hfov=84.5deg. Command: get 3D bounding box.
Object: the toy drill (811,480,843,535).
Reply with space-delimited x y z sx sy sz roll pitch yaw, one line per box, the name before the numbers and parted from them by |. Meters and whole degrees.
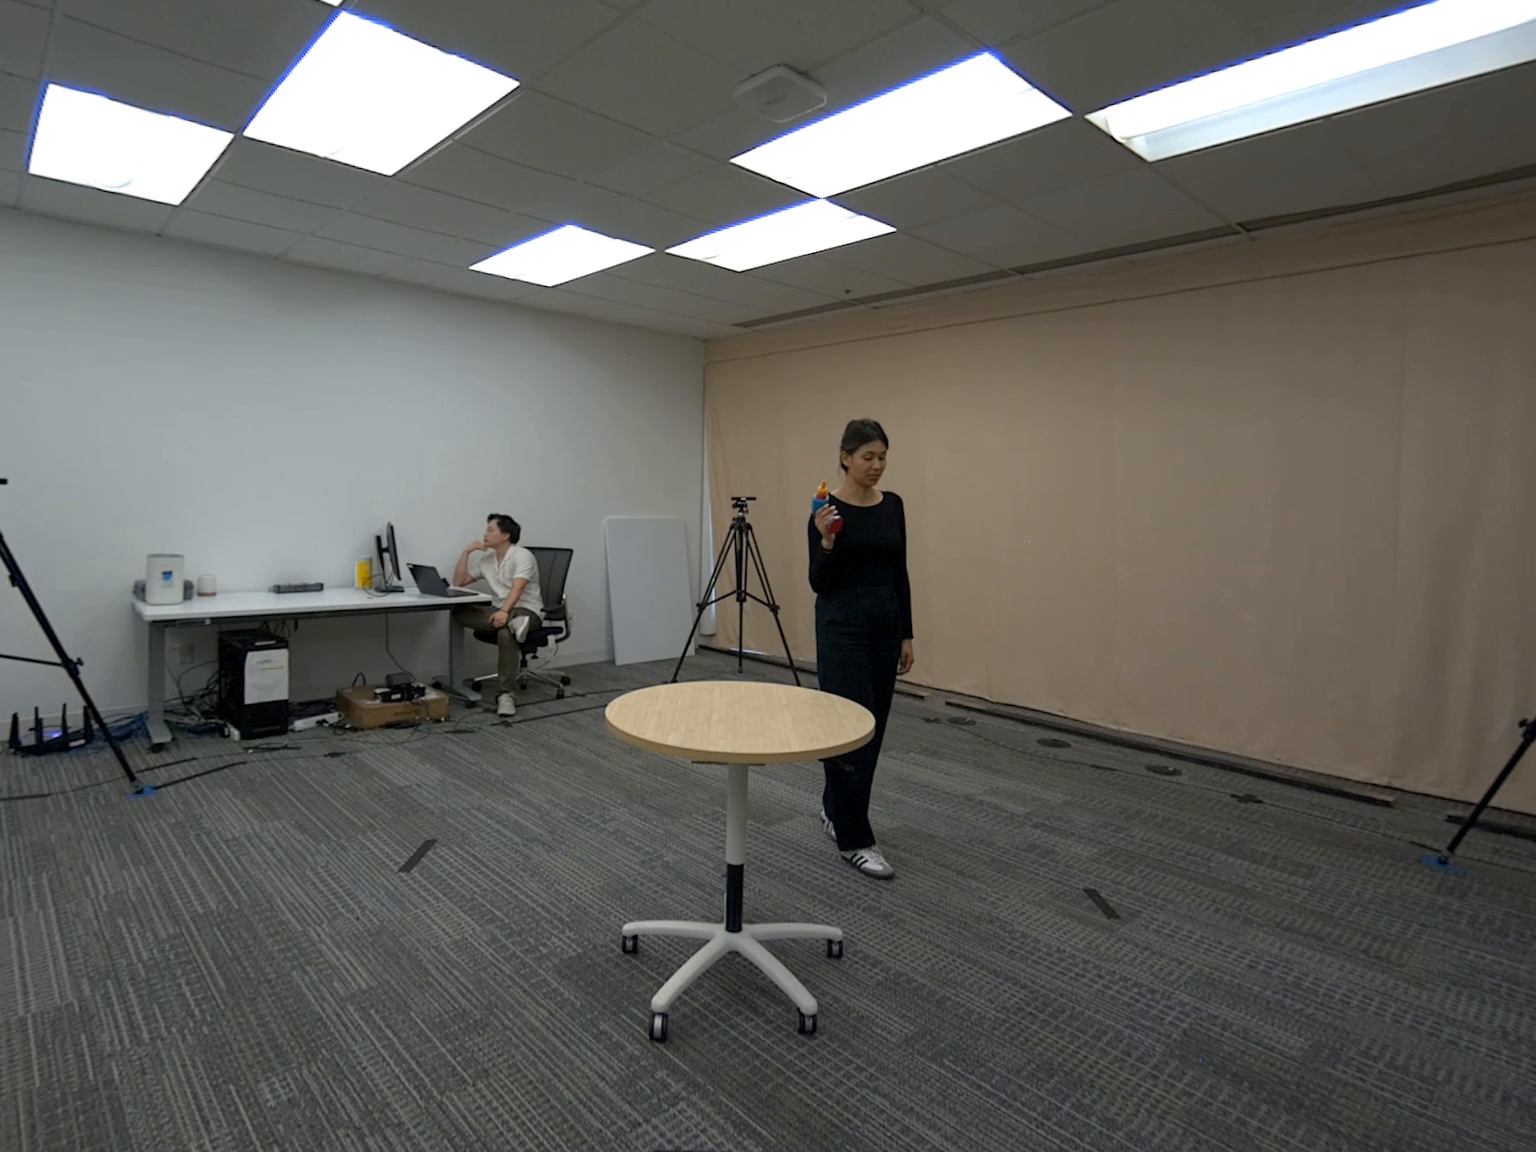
toy drill | 0.195 -0.251 2.973 0.060 0.167 0.150 -10 44 -23
